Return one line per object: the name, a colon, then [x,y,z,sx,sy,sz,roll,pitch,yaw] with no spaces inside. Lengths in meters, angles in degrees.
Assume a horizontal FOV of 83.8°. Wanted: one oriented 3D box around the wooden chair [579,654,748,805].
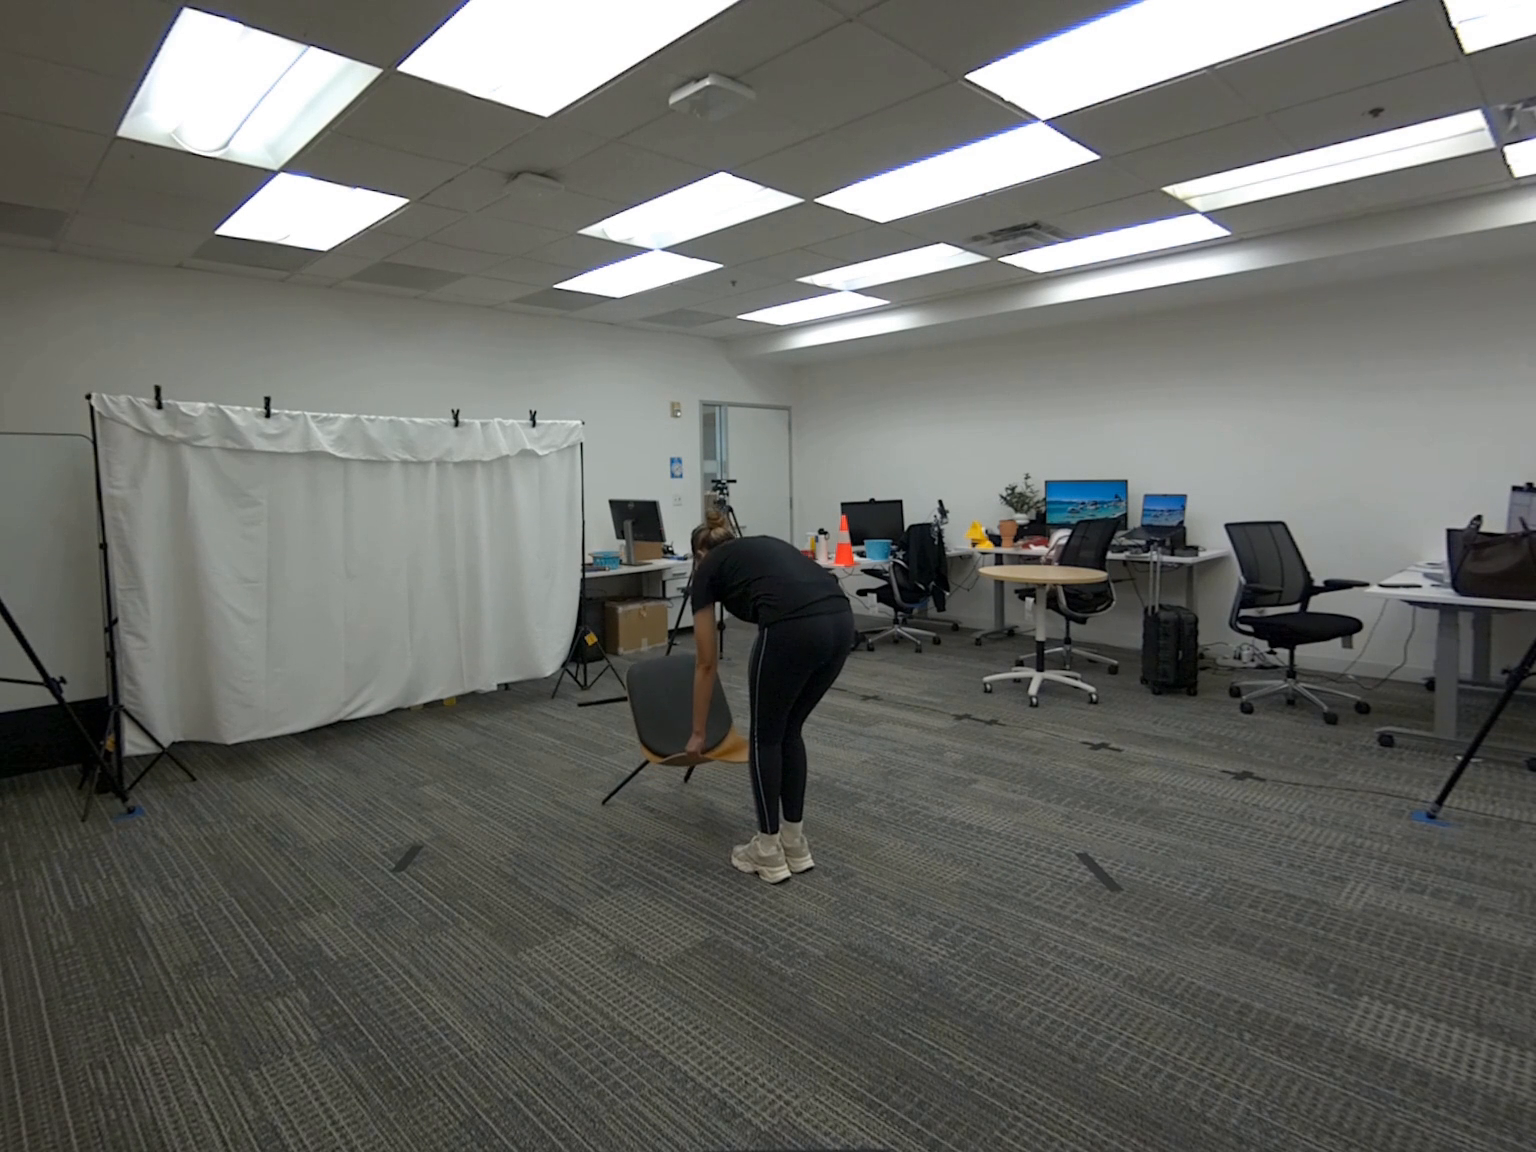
wooden chair: [-0.382,0.593,3.603,0.465,0.532,0.886,-4,-17,-38]
